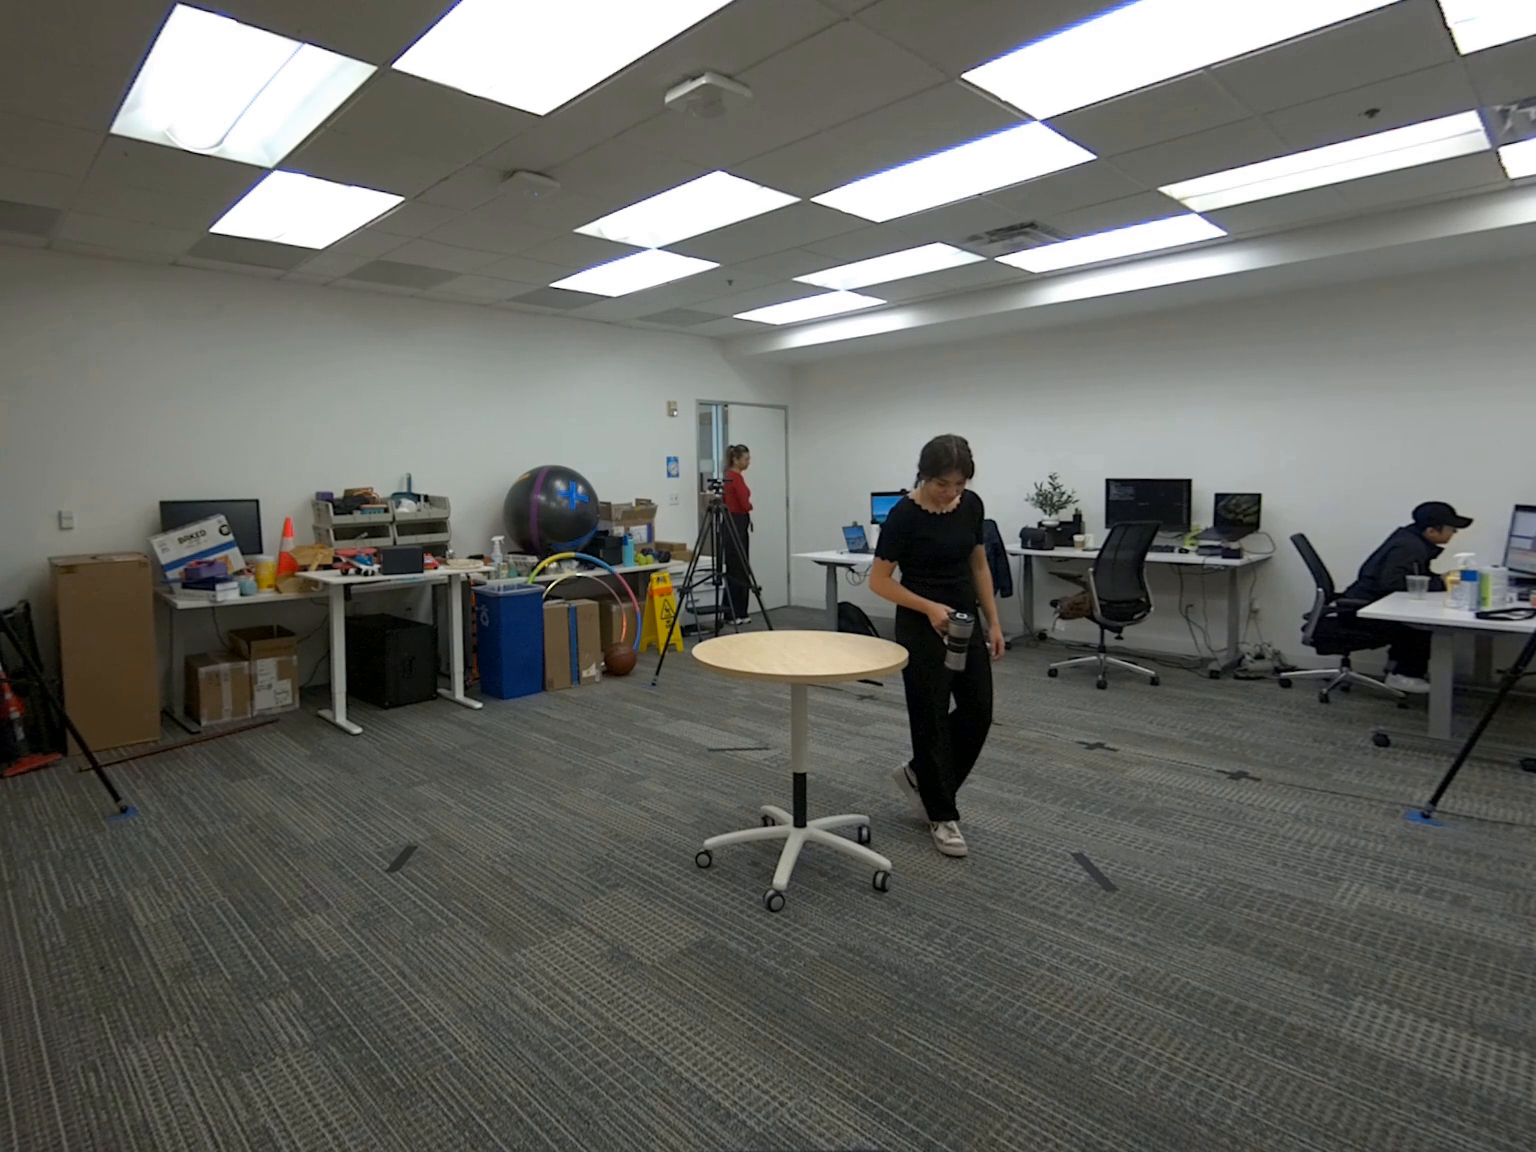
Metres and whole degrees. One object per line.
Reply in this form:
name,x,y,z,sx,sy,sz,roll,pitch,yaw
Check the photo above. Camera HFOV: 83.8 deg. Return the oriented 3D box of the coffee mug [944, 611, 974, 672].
coffee mug,0.697,0.235,3.046,0.091,0.200,0.119,14,19,41
